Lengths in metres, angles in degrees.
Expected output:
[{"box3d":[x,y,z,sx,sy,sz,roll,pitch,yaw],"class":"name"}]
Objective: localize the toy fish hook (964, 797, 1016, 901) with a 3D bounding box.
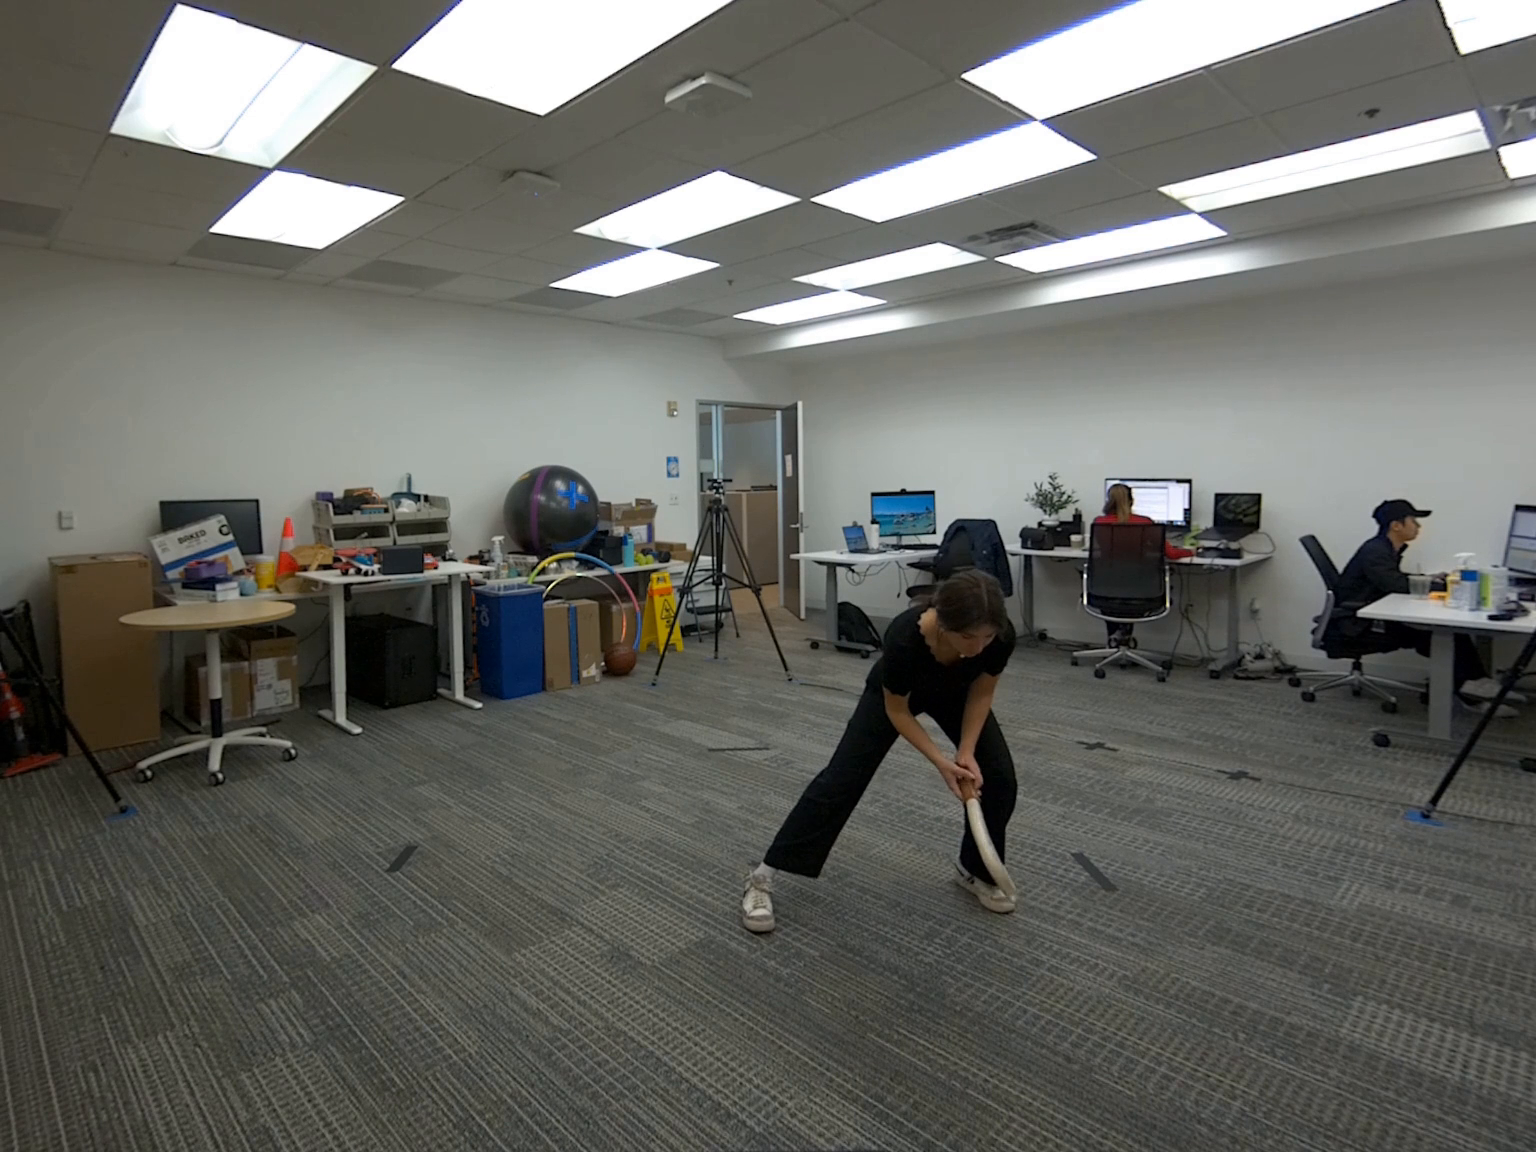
[{"box3d":[0.612,0.727,2.418,0.048,0.220,0.515,-22,19,9],"class":"toy fish hook"}]
